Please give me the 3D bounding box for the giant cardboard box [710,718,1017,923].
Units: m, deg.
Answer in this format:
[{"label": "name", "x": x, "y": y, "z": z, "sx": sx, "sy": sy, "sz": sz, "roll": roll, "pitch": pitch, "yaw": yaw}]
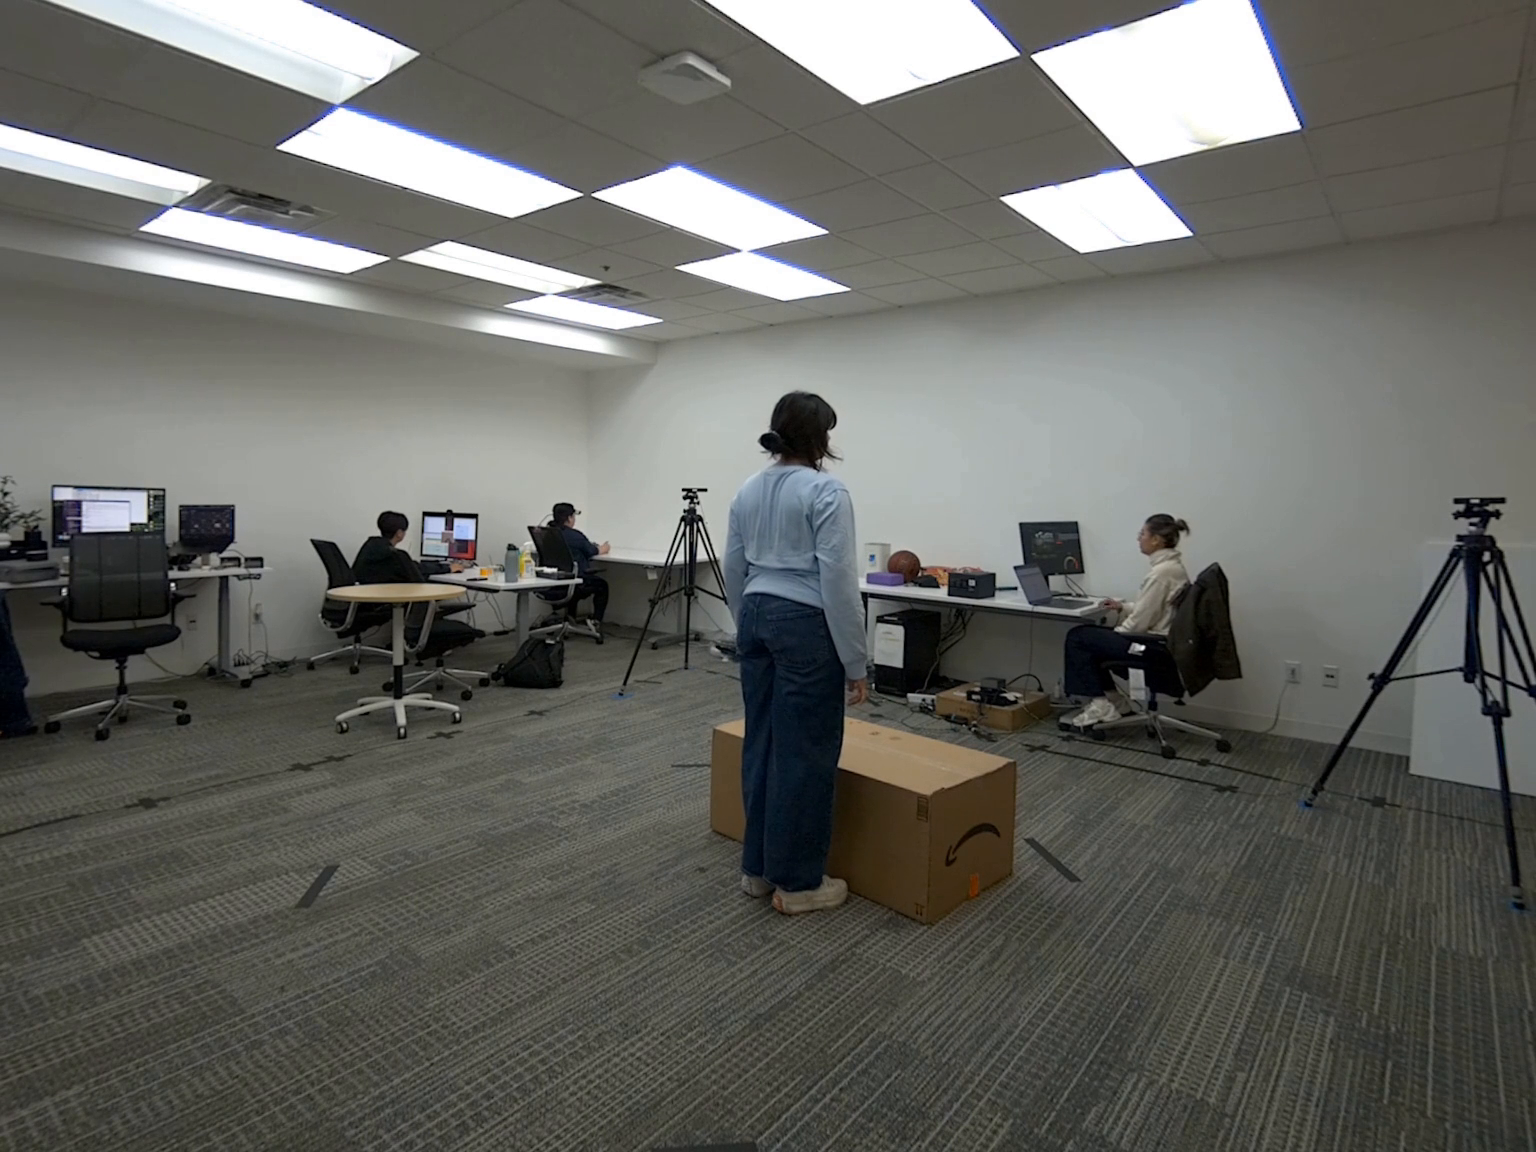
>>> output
[{"label": "giant cardboard box", "x": 0.331, "y": 0.848, "z": 3.290, "sx": 1.061, "sy": 0.425, "sz": 0.560, "roll": 6, "pitch": 7, "yaw": 44}]
